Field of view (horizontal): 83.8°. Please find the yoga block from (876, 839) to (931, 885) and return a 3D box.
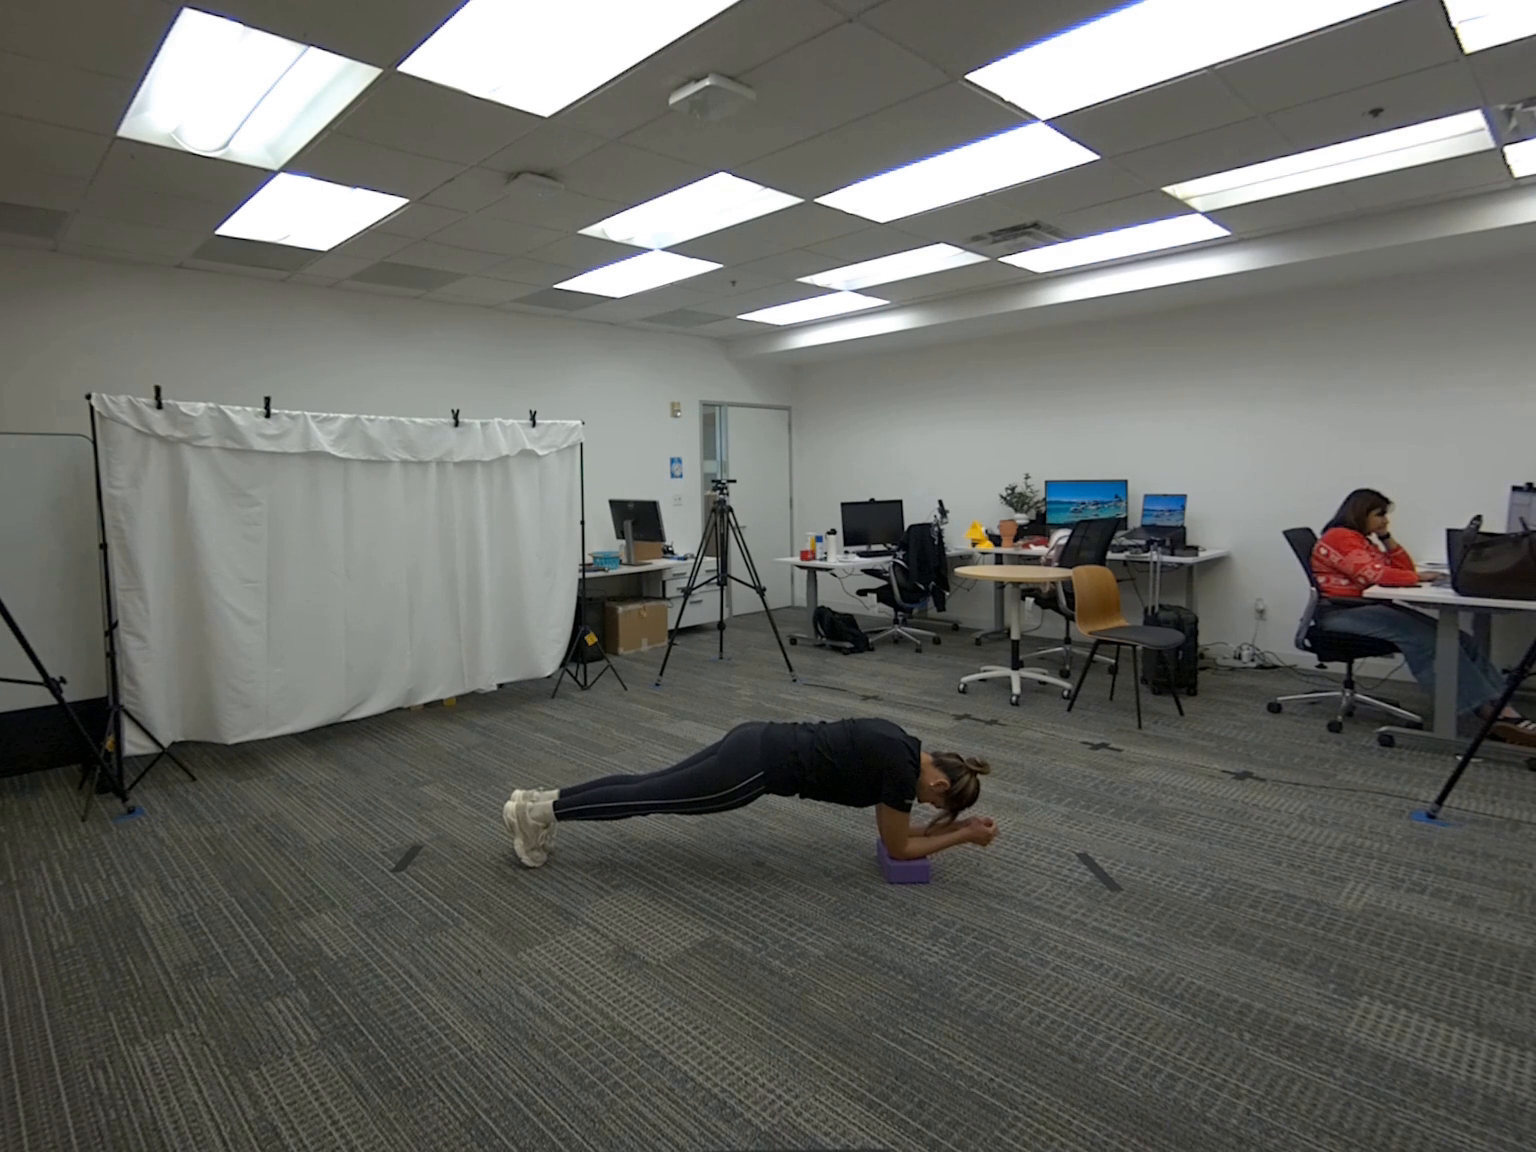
[{"bbox_3d":[0.478,1.001,3.040,0.149,0.076,0.230,0,6,0],"label":"yoga block"}]
